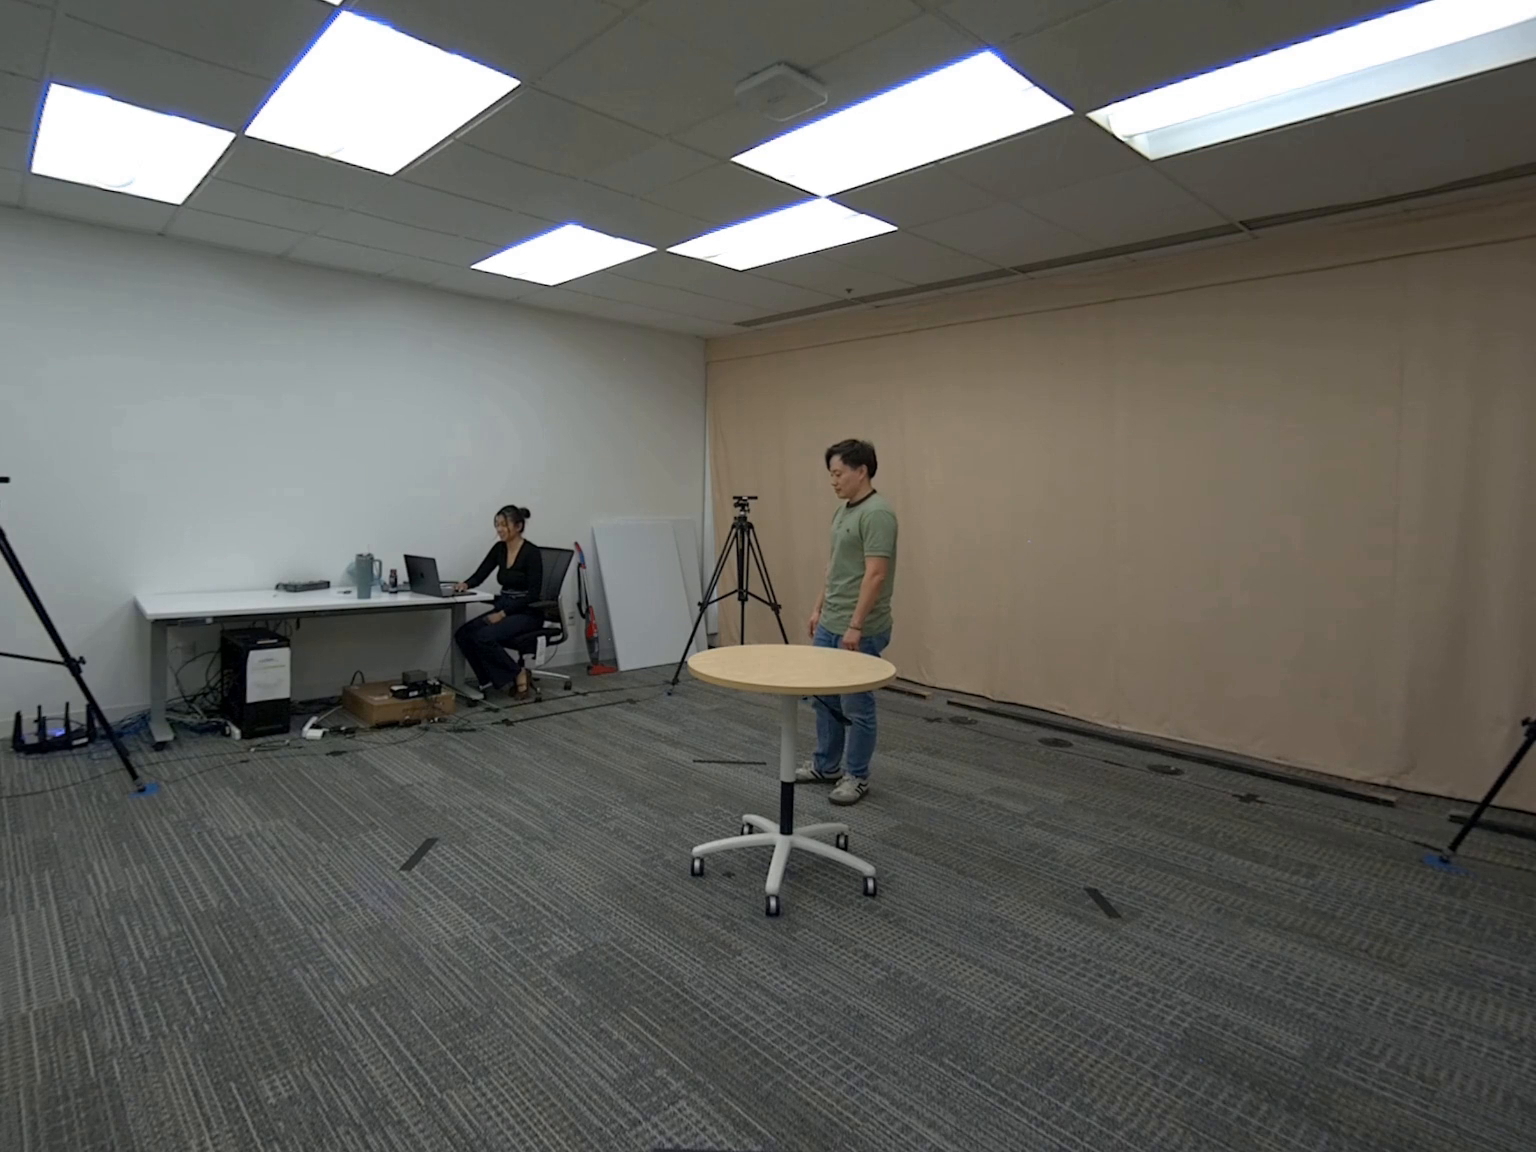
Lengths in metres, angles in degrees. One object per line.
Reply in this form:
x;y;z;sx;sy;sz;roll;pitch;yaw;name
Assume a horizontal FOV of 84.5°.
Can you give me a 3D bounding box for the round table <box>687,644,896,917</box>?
0.068;0.717;3.134;0.763;0.792;0.766;1;4;-1;round table
